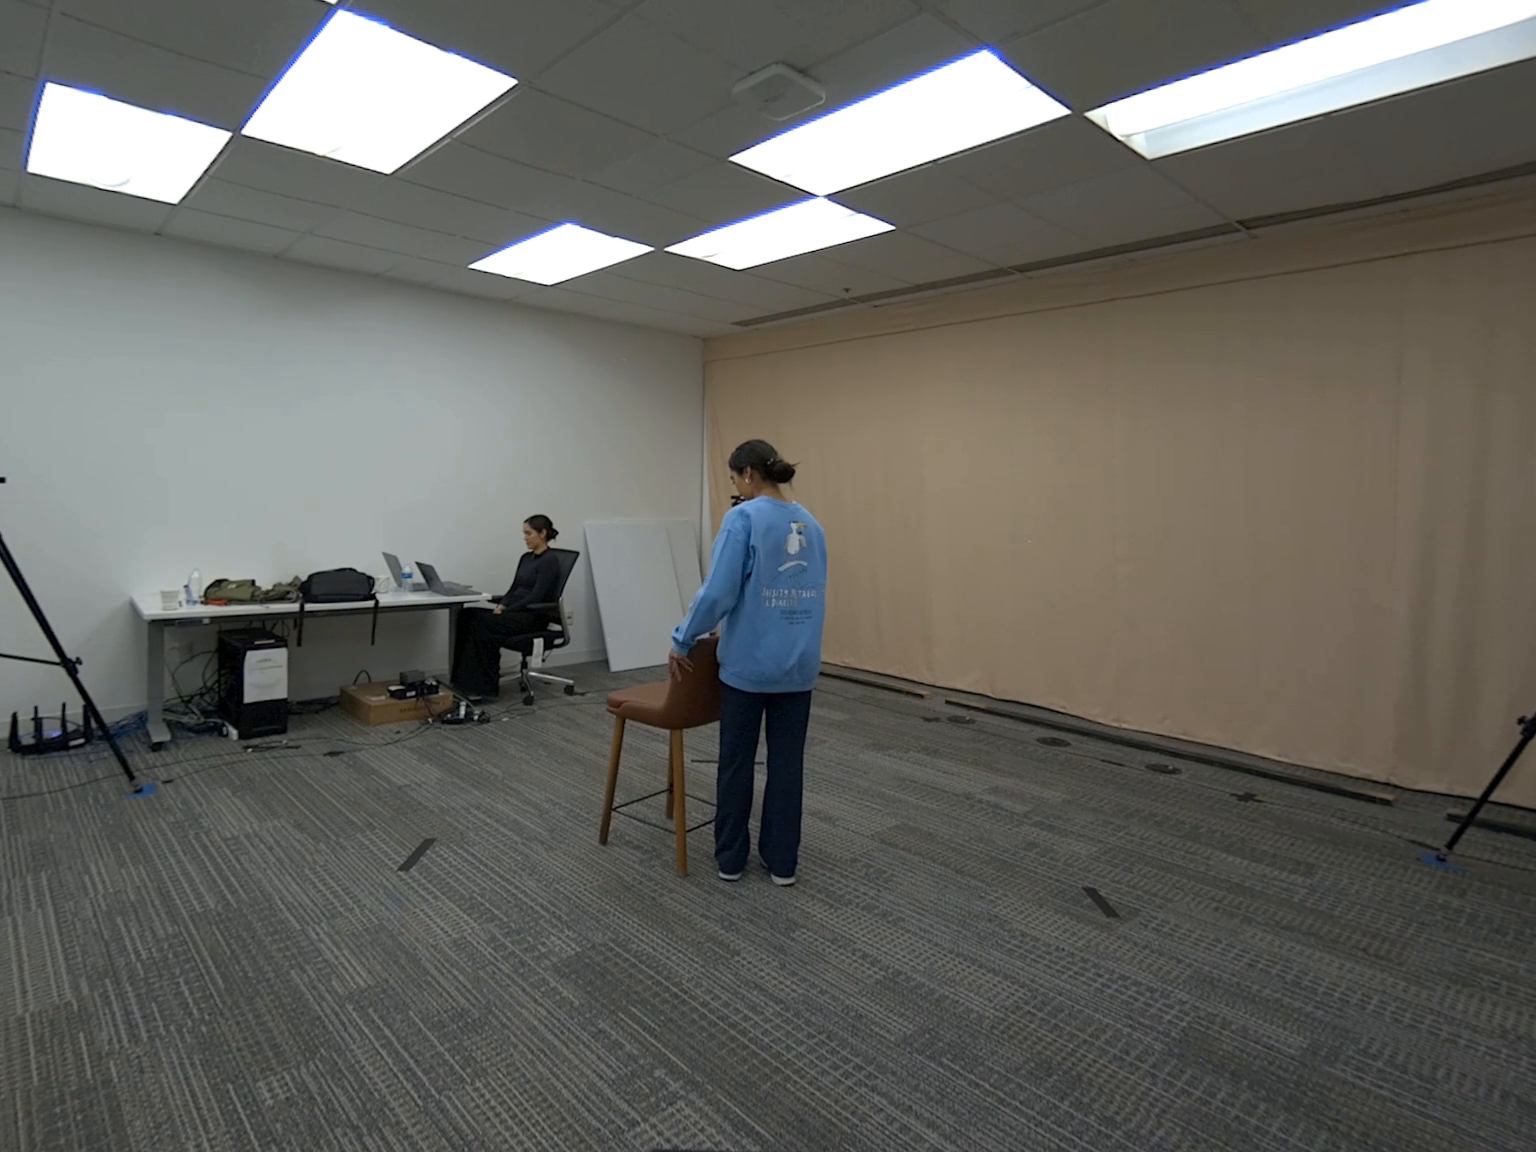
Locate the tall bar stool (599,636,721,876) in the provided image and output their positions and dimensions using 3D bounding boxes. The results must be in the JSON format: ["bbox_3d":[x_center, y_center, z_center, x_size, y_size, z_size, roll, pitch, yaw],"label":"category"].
[{"bbox_3d":[-0.363,0.639,3.328,0.480,0.886,0.446,8,7,40],"label":"tall bar stool"}]
